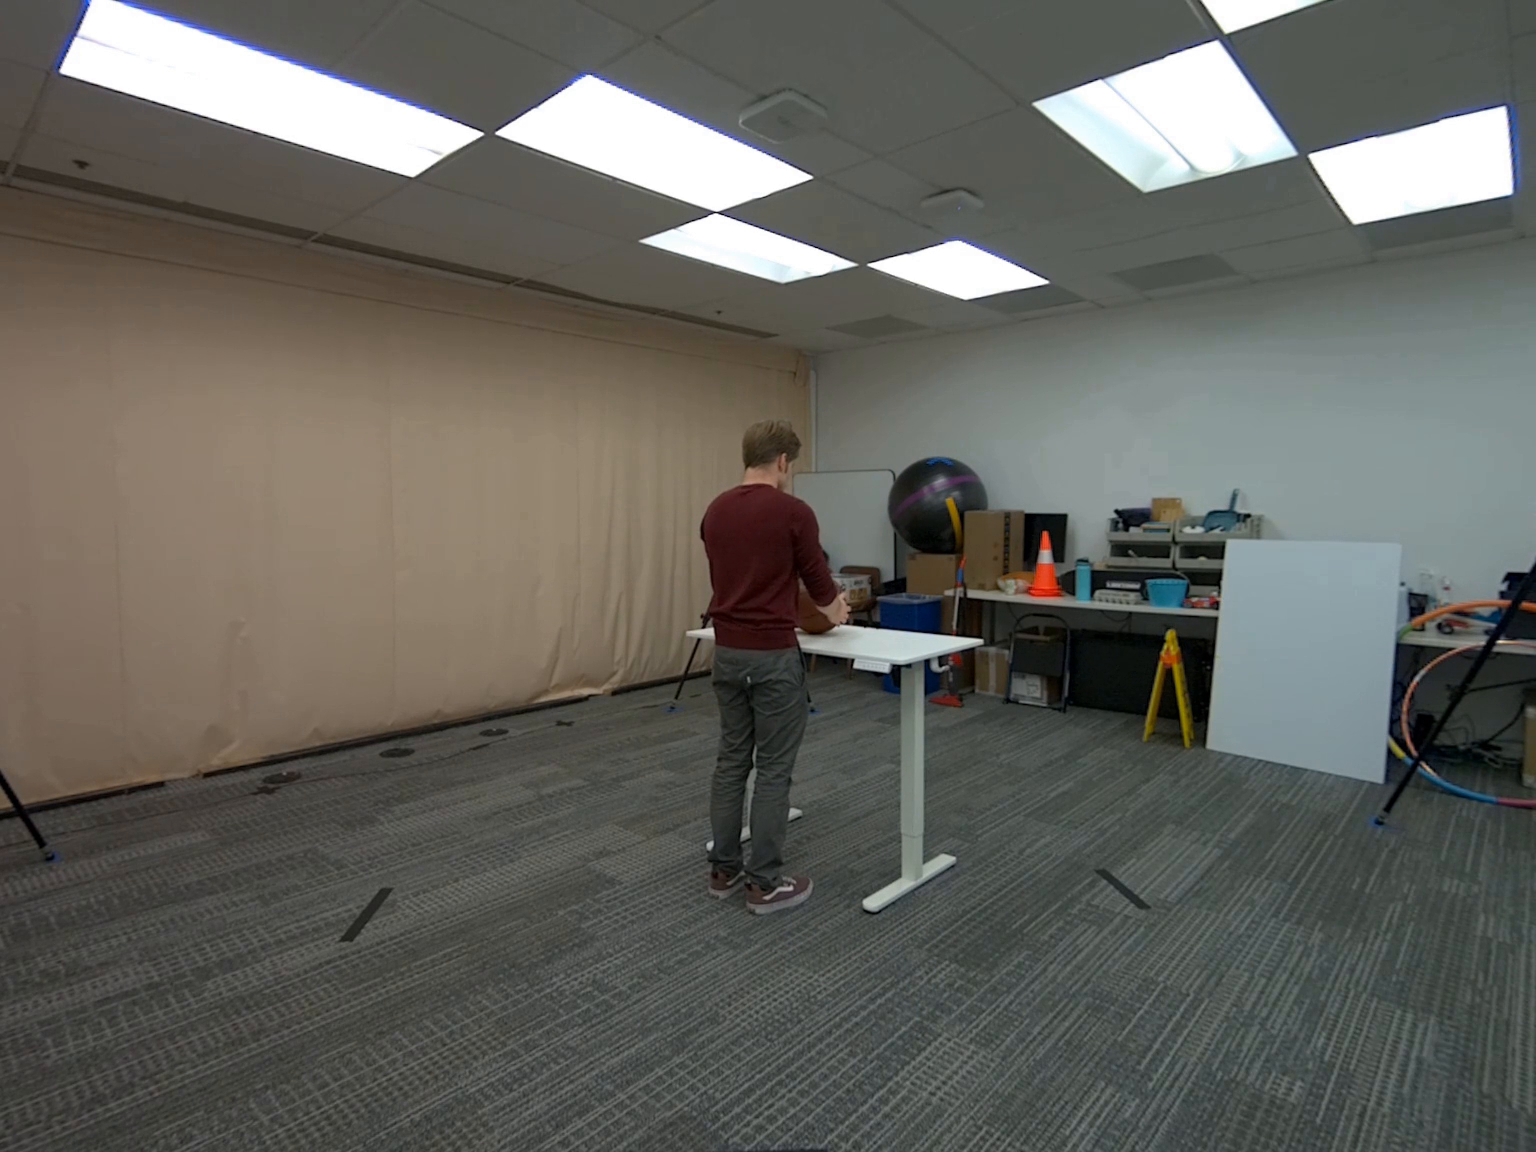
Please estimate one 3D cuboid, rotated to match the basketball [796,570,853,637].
[{"bbox_3d":[0.198,0.103,3.365,0.236,0.235,0.237,0,4,-2],"label":"basketball"}]
